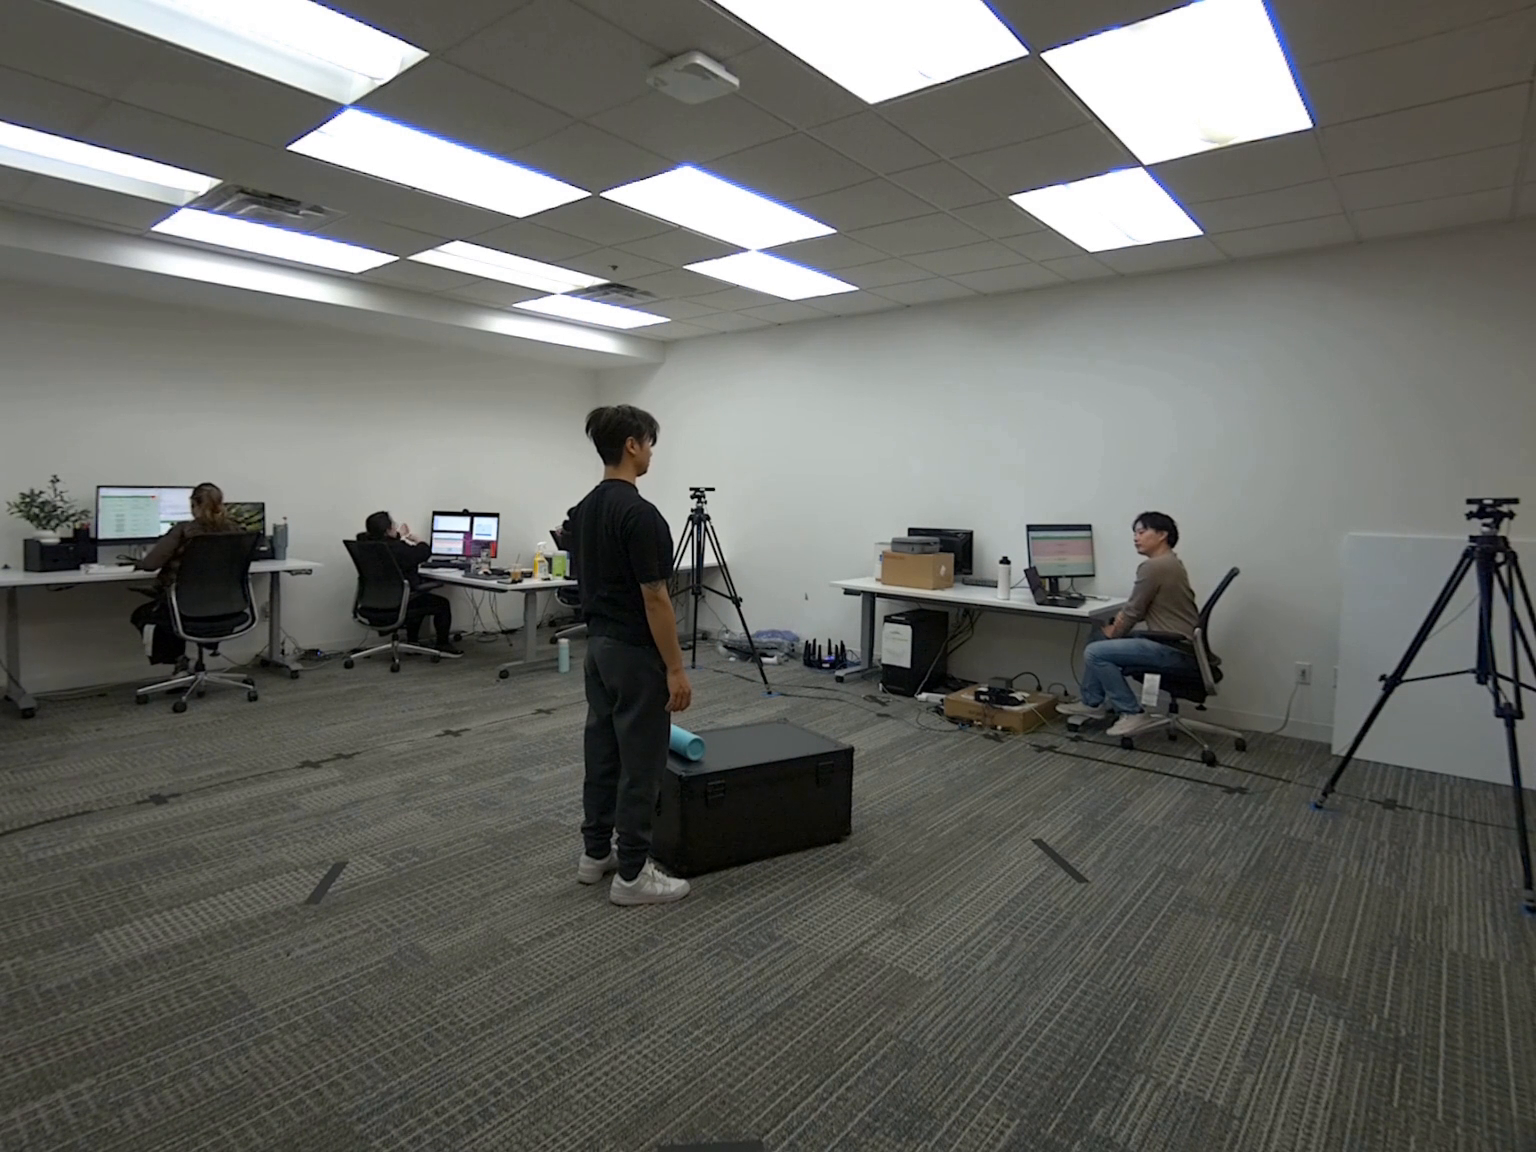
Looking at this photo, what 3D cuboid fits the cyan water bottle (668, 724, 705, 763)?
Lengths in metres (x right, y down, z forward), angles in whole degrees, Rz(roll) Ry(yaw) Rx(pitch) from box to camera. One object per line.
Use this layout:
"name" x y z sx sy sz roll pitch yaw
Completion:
"cyan water bottle" -0.355 0.626 3.270 0.090 0.092 0.292 -2 5 -33
